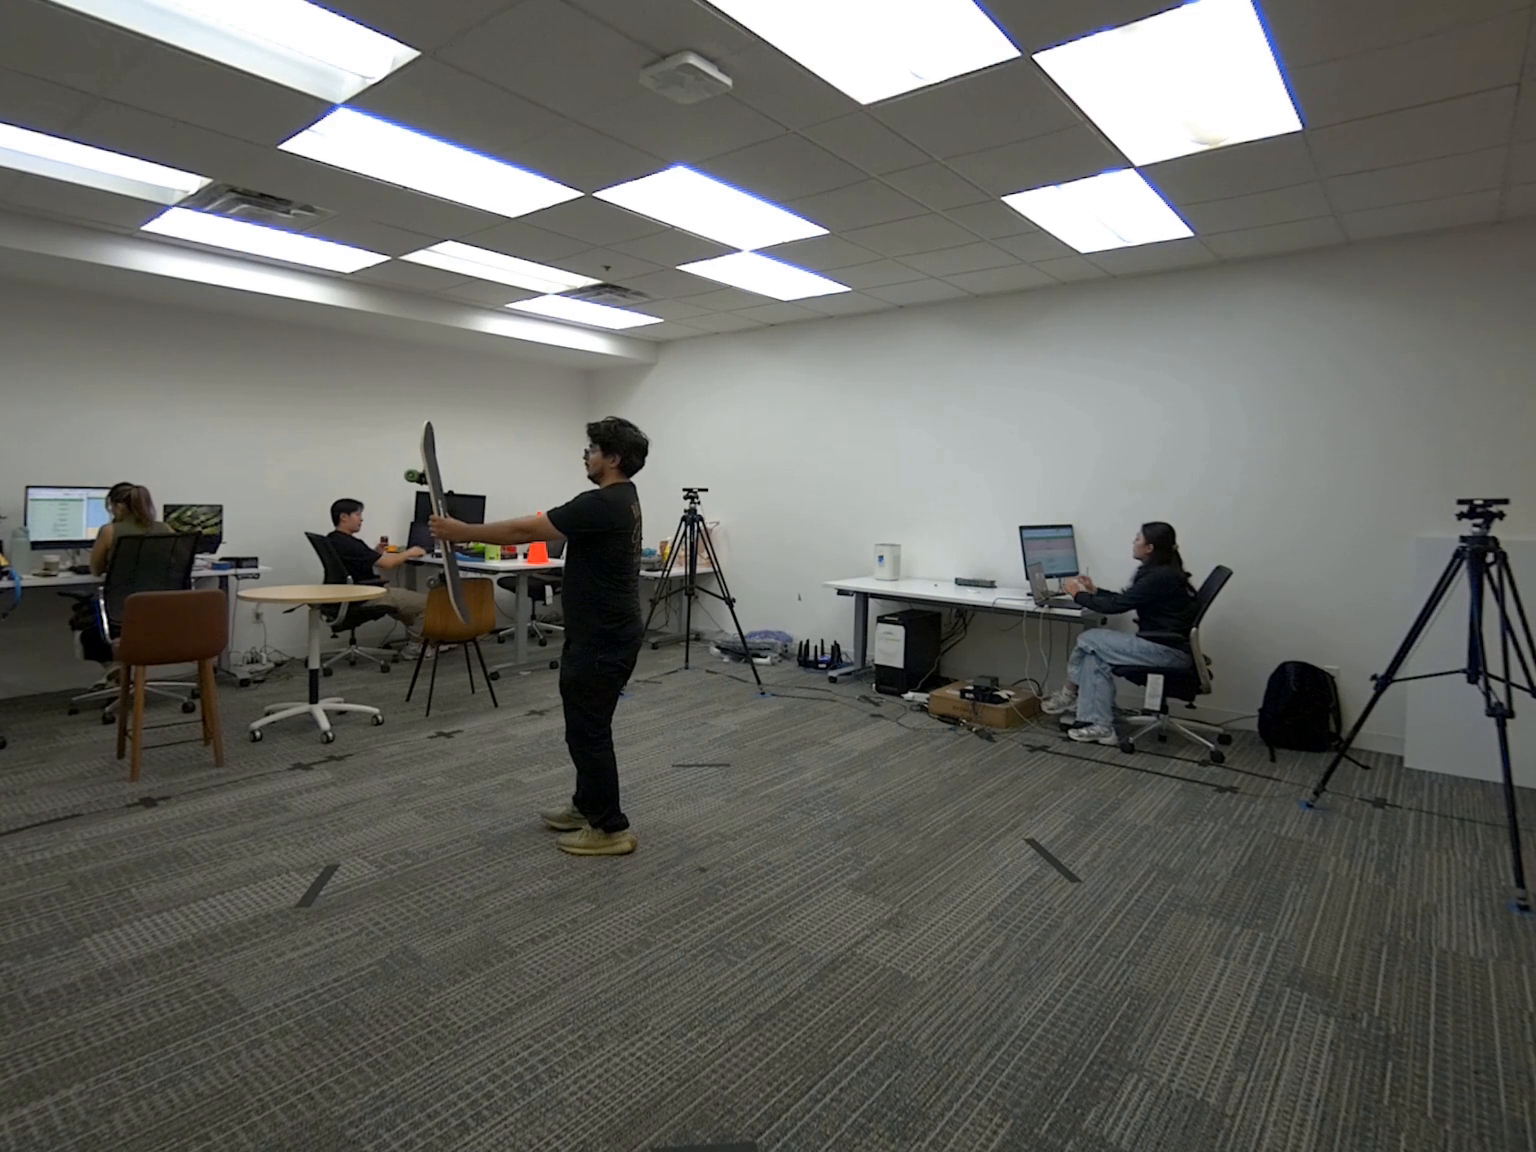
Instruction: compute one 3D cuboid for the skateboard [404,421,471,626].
[{"bbox_3d":[-1.262,-0.183,3.191,0.110,0.785,0.195,-11,1,-8],"label":"skateboard"}]
